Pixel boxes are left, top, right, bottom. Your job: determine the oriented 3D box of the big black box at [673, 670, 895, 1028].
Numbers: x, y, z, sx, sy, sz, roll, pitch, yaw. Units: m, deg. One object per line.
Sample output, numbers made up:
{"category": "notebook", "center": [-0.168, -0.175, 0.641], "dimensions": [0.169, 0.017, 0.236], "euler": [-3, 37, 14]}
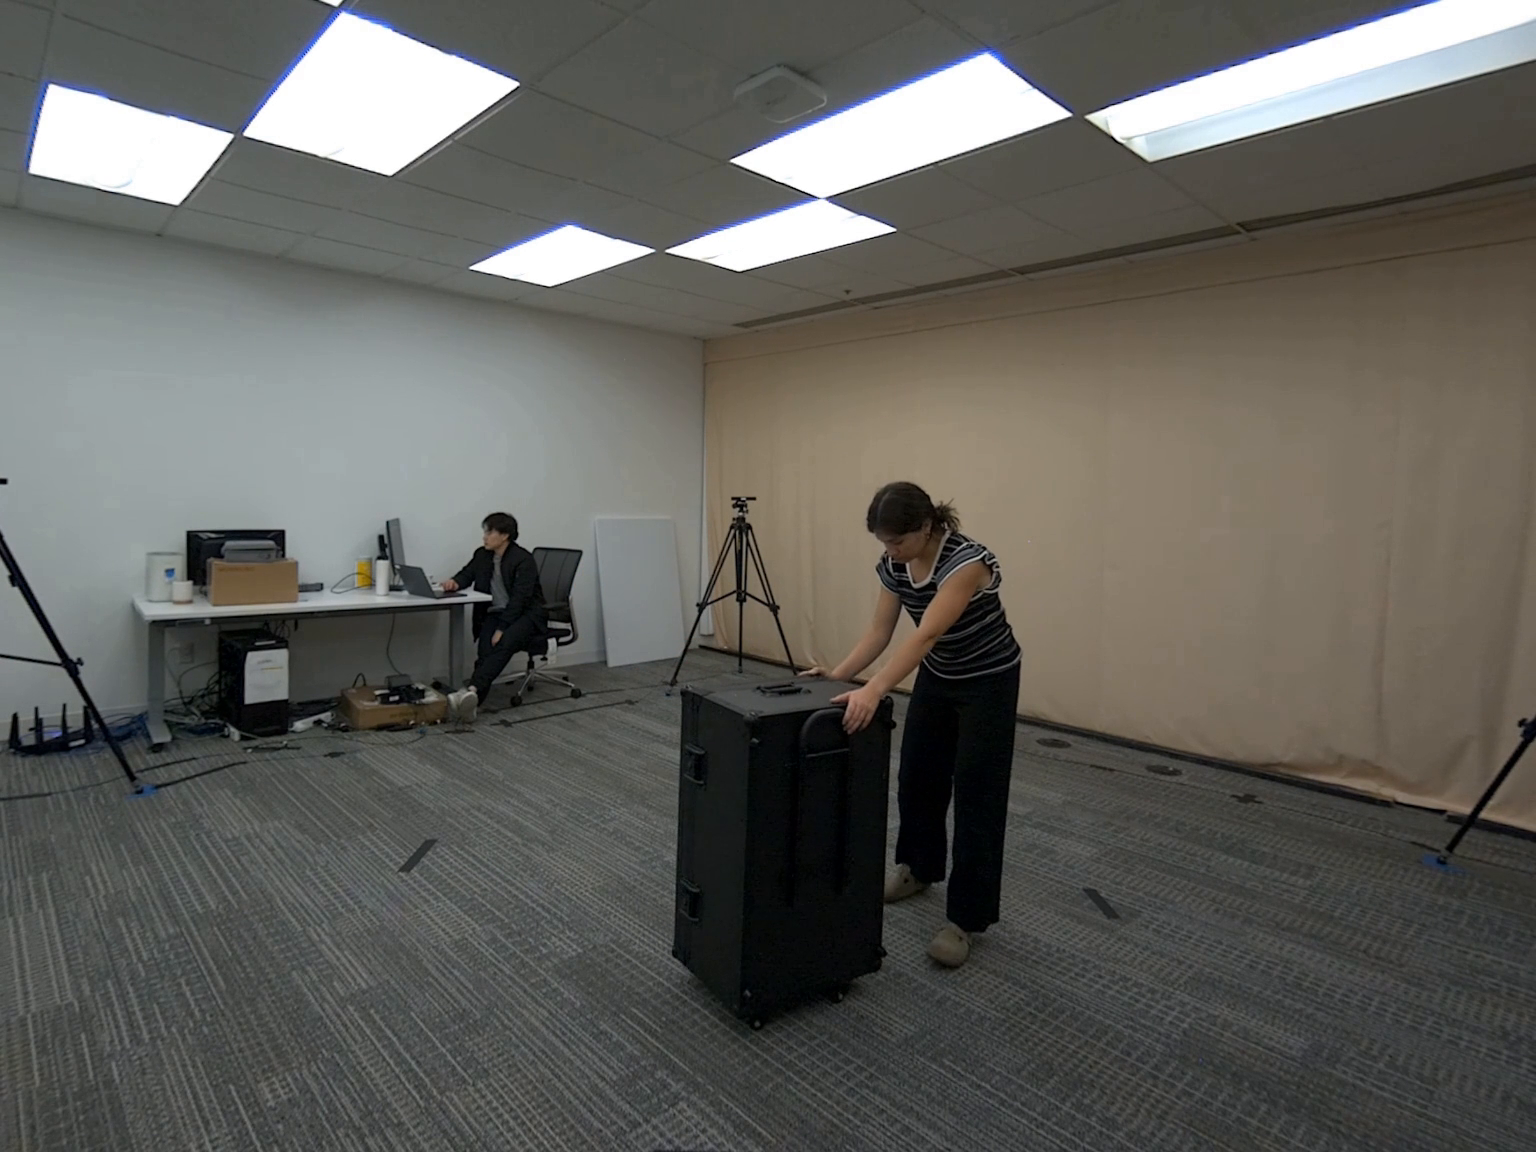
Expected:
{"category": "big black box", "center": [0.042, 0.756, 2.373], "dimensions": [0.510, 0.859, 0.406], "euler": [0, 5, -33]}
